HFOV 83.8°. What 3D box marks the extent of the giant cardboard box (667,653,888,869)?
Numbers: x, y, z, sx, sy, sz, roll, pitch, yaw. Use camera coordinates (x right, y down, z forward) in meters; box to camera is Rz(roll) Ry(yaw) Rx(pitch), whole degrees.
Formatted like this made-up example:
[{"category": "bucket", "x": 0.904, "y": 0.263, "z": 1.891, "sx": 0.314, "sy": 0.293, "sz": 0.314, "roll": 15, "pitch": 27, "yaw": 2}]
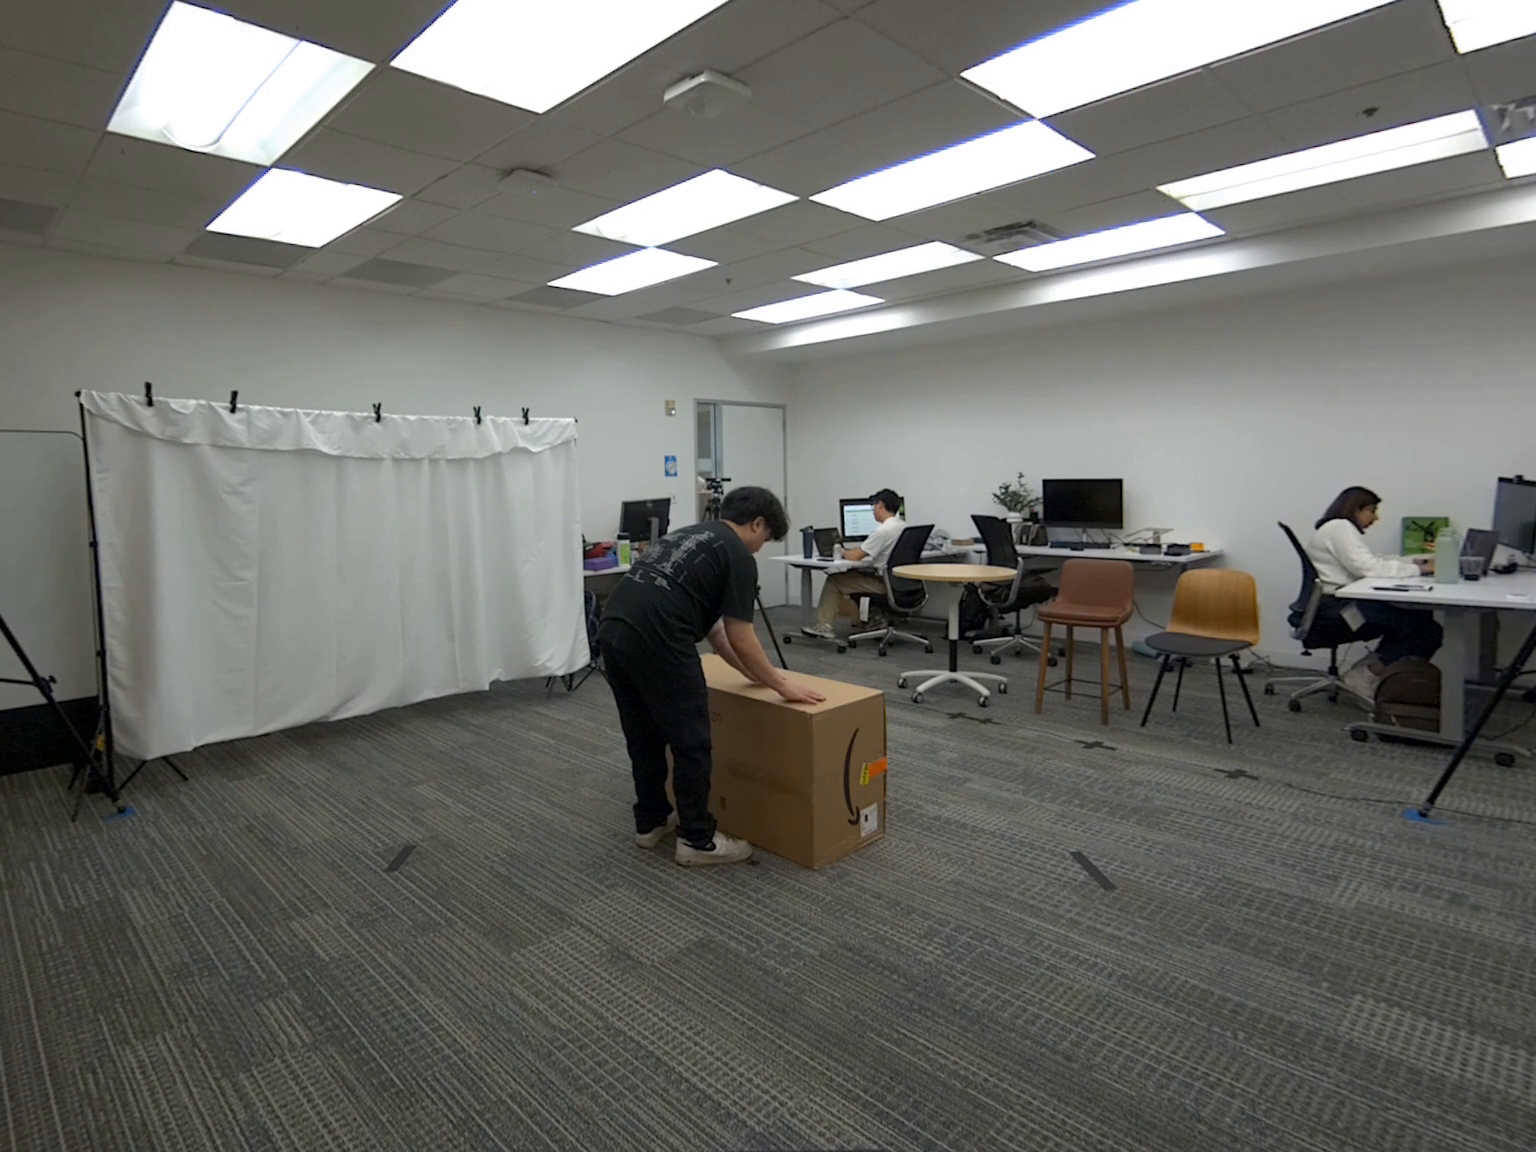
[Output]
[{"category": "giant cardboard box", "x": -0.054, "y": 0.709, "z": 3.530, "sx": 0.435, "sy": 0.582, "sz": 1.059, "roll": -4, "pitch": 6, "yaw": -44}]
